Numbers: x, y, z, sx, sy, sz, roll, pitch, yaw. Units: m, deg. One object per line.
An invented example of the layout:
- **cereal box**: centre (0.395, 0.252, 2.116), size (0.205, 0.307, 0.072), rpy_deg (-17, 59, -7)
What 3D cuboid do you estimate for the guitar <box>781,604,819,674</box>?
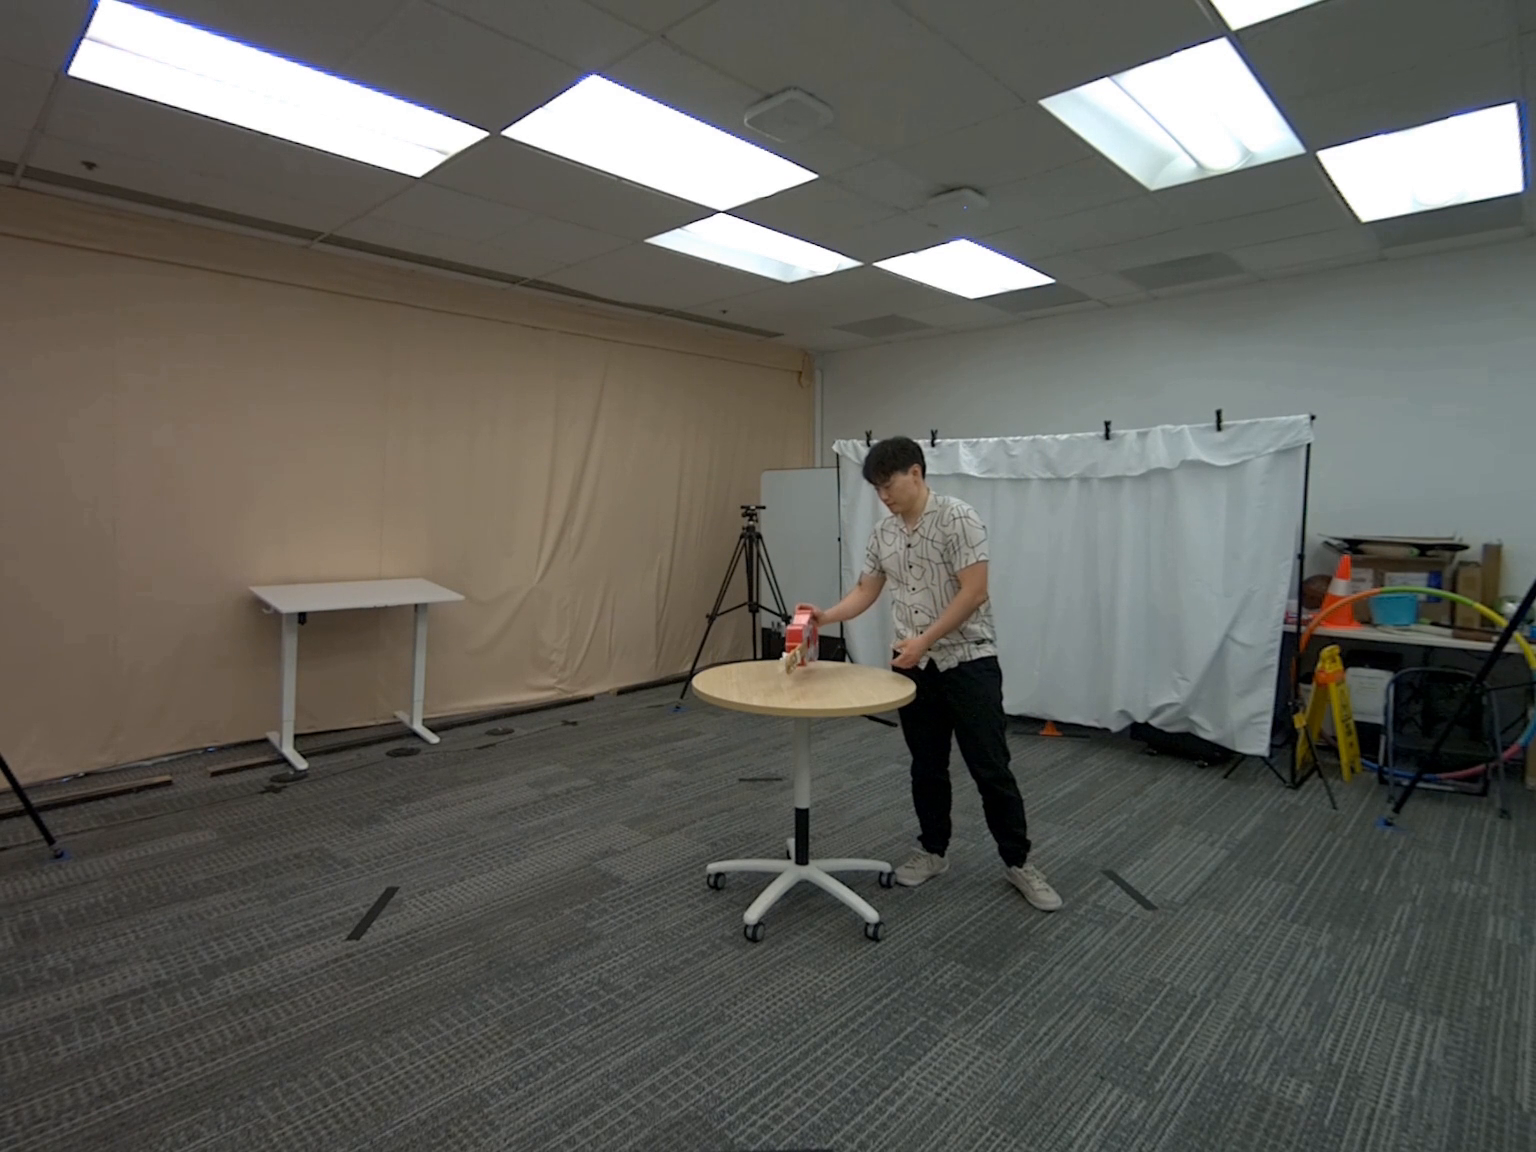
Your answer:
- **guitar**: centre (0.102, 0.224, 2.891), size (0.072, 0.193, 0.490), rpy_deg (-1, 1, 13)
